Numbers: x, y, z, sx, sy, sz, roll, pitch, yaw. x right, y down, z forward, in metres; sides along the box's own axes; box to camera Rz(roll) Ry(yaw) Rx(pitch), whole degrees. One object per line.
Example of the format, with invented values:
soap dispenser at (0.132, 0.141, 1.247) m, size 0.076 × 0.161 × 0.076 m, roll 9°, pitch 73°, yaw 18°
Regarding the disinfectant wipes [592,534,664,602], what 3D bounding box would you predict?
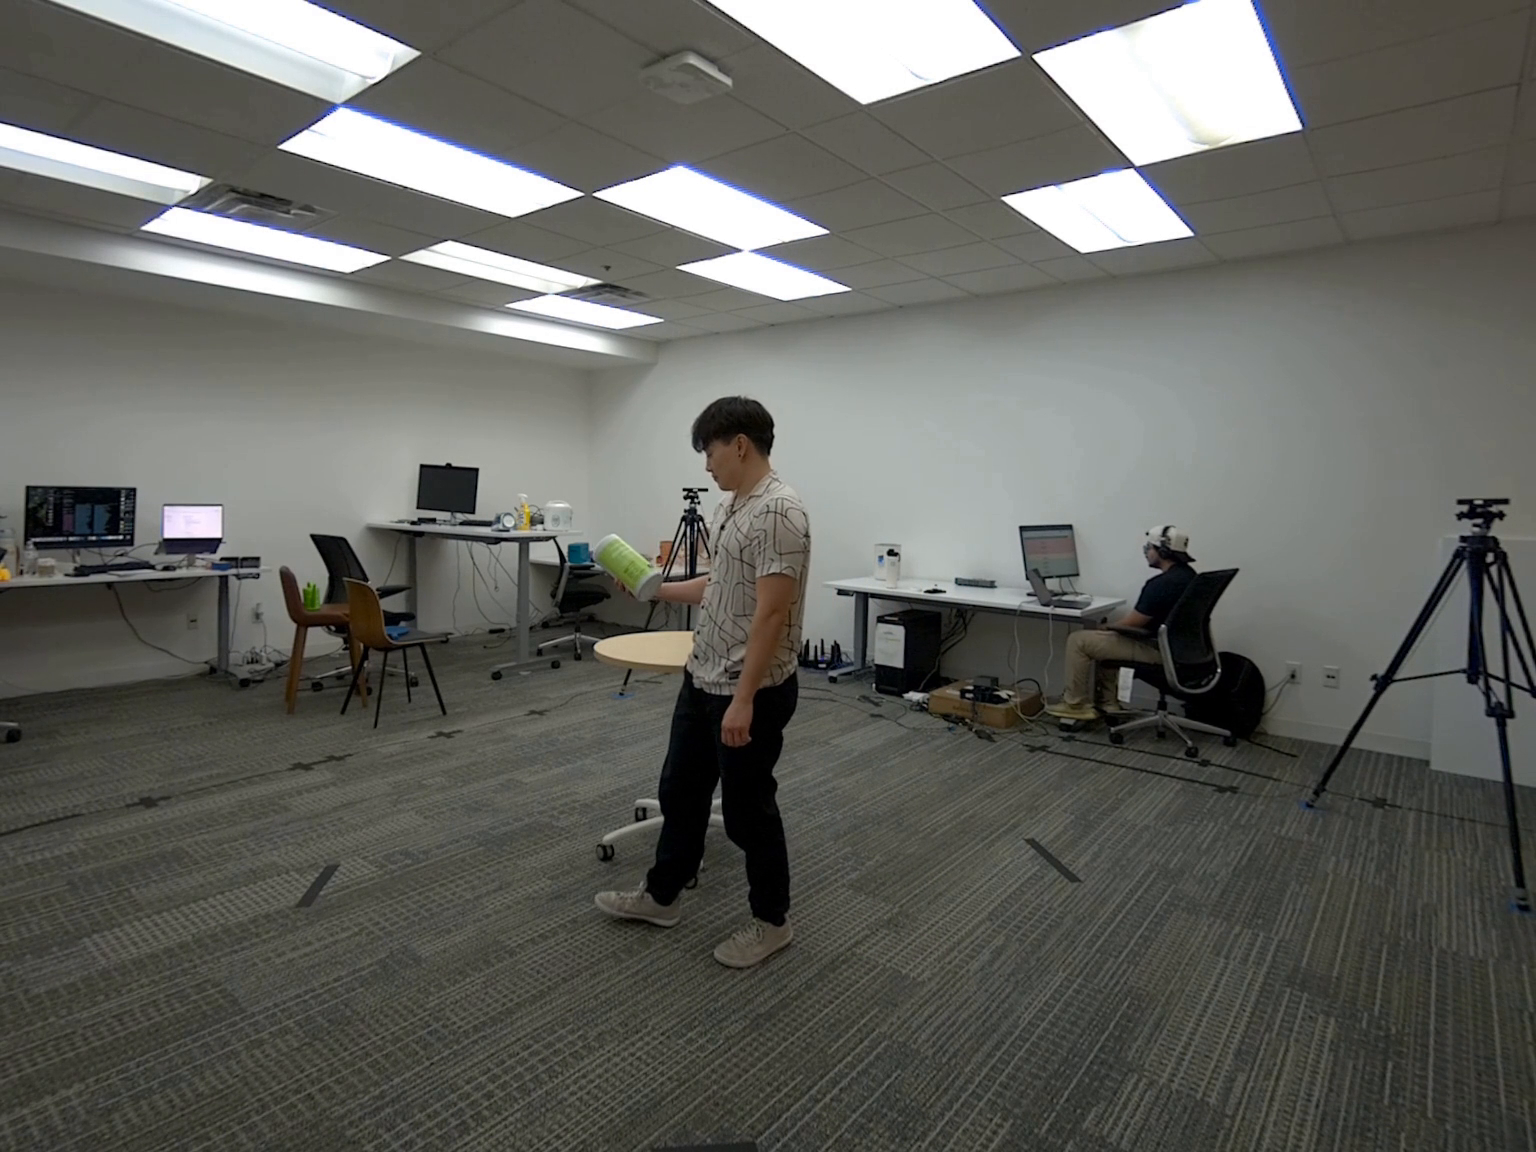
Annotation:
disinfectant wipes at (-0.450, -0.033, 2.645) m, size 0.224 × 0.117 × 0.115 m, roll 37°, pitch 18°, yaw 20°
